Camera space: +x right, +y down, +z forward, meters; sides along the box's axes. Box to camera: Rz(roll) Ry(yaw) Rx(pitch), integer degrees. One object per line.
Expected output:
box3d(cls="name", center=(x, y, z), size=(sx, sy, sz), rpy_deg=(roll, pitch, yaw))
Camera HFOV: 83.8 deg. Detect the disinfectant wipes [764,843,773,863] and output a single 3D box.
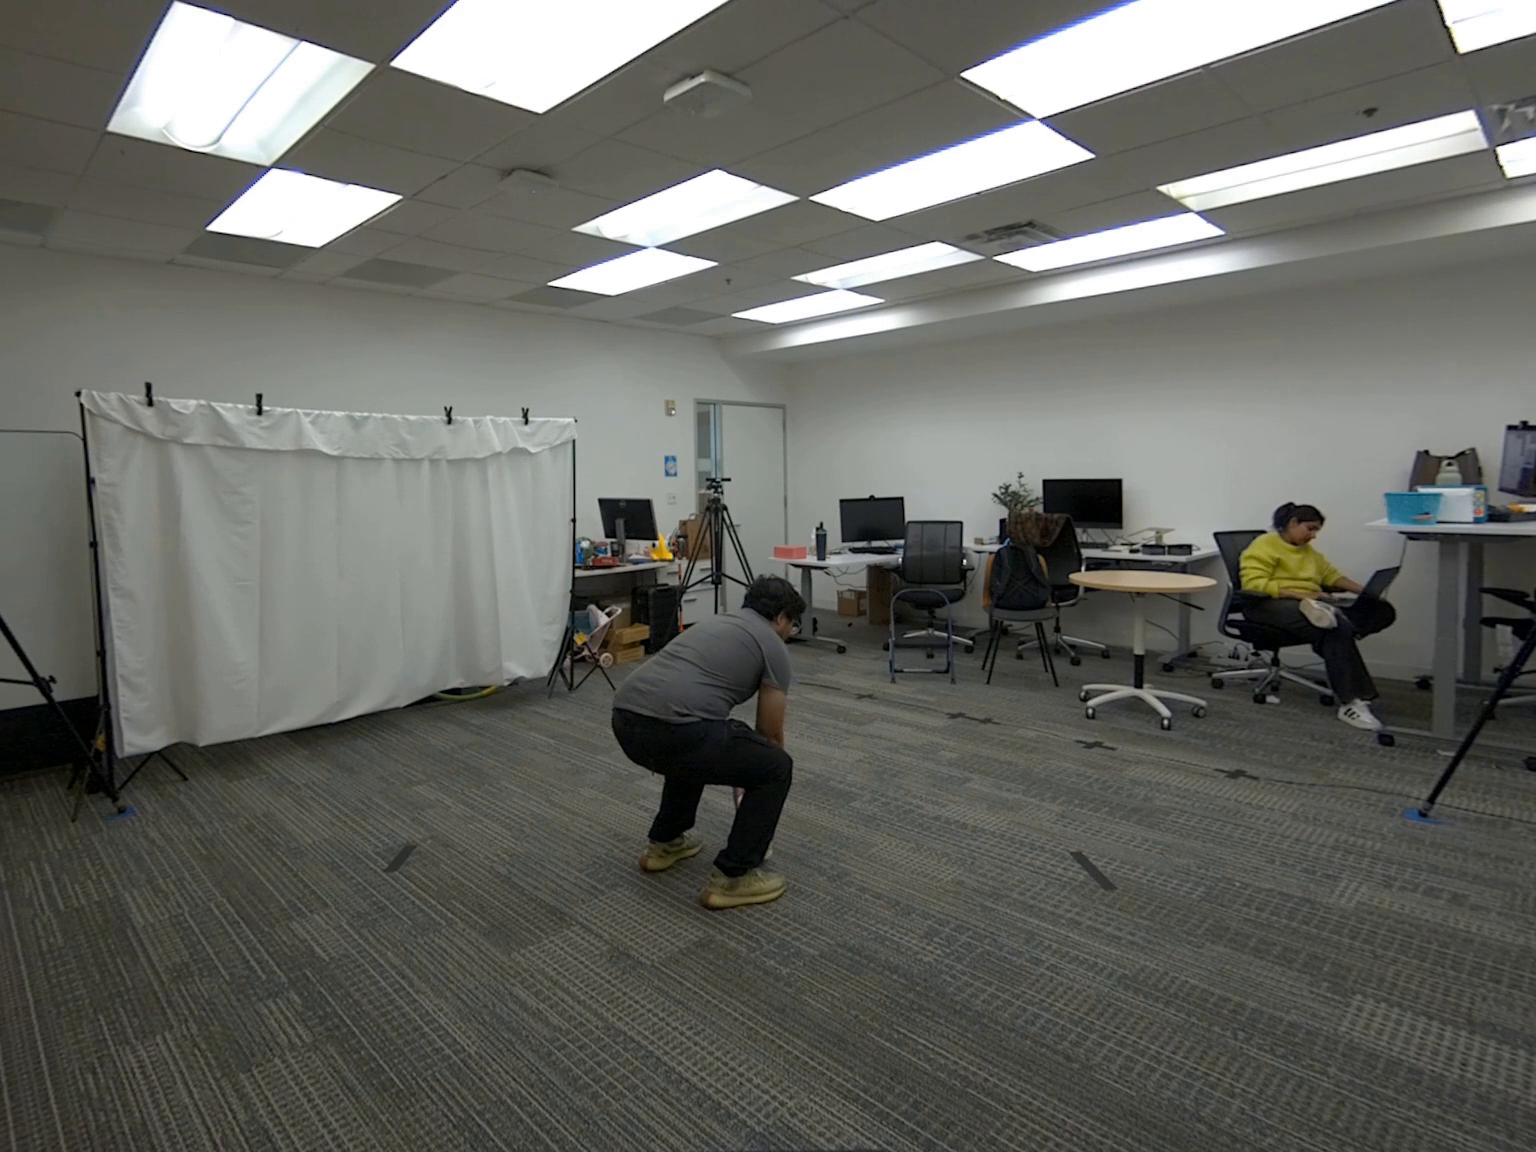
box3d(cls="disinfectant wipes", center=(-0.040, 0.902, 3.103), size=(0.118, 0.216, 0.118), rpy_deg=(-4, 5, -1))
